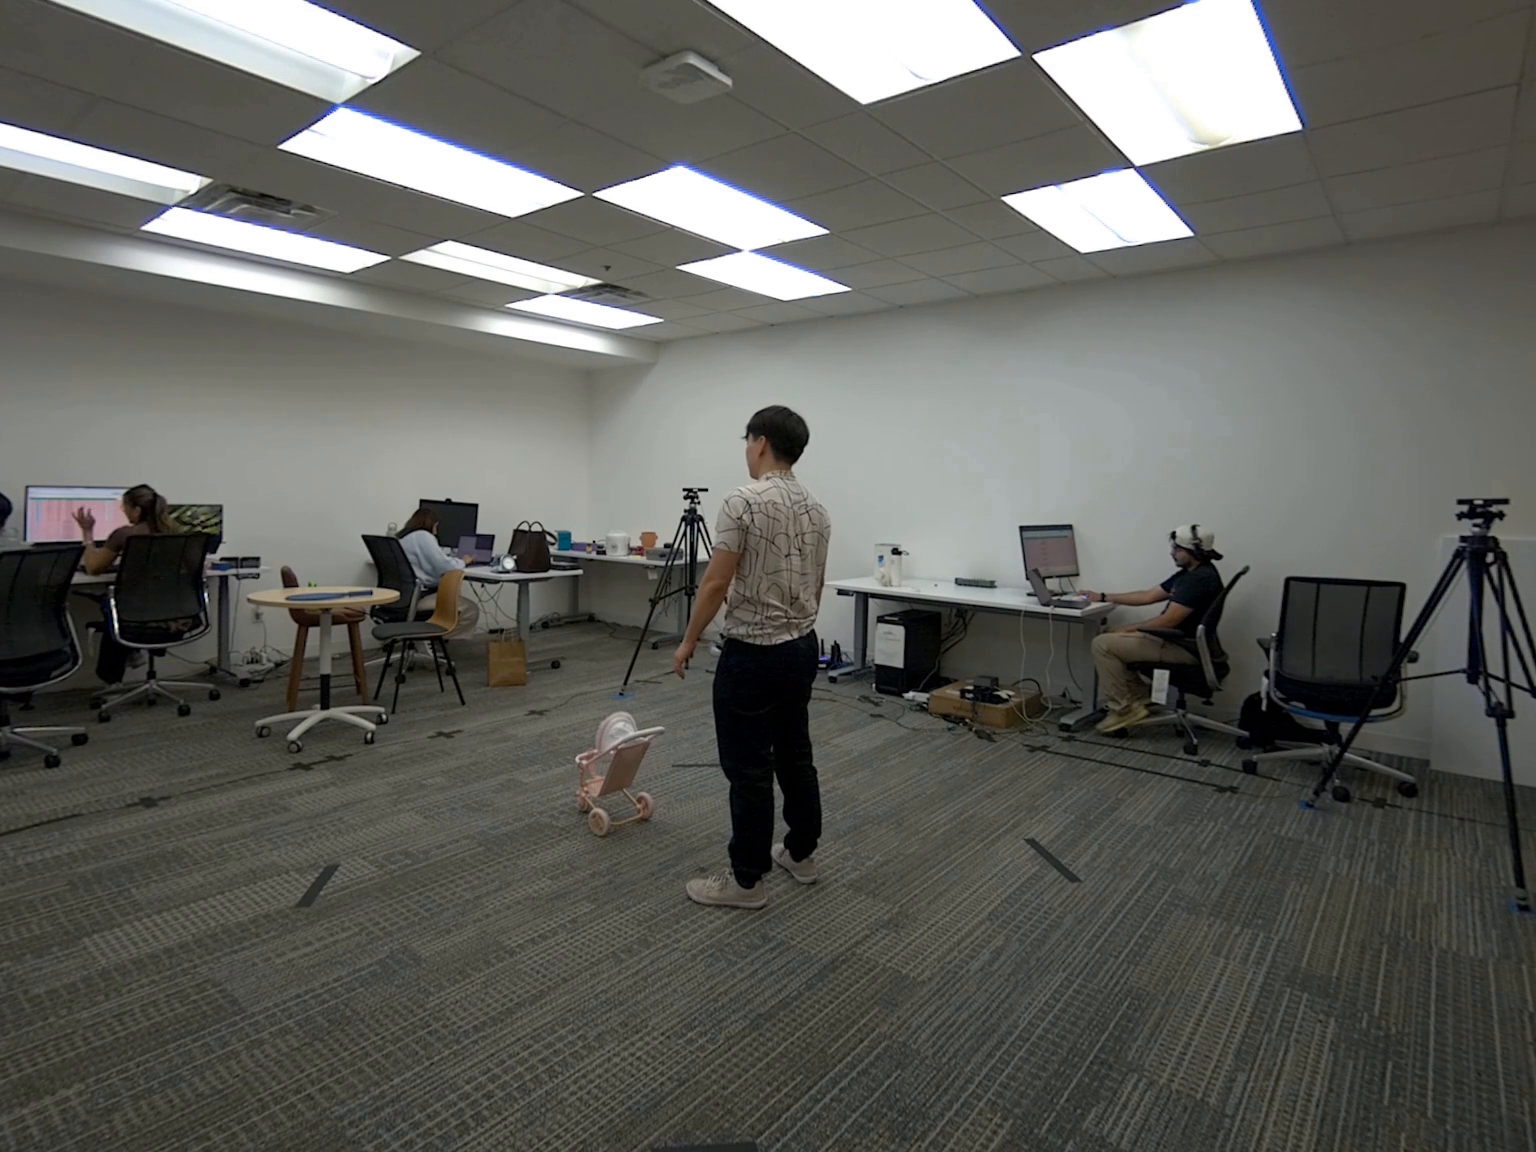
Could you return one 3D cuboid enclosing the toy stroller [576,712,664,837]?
[{"bbox_3d":[-0.653,0.795,3.520,0.273,0.530,0.355,-2,20,-46],"label":"toy stroller"}]
